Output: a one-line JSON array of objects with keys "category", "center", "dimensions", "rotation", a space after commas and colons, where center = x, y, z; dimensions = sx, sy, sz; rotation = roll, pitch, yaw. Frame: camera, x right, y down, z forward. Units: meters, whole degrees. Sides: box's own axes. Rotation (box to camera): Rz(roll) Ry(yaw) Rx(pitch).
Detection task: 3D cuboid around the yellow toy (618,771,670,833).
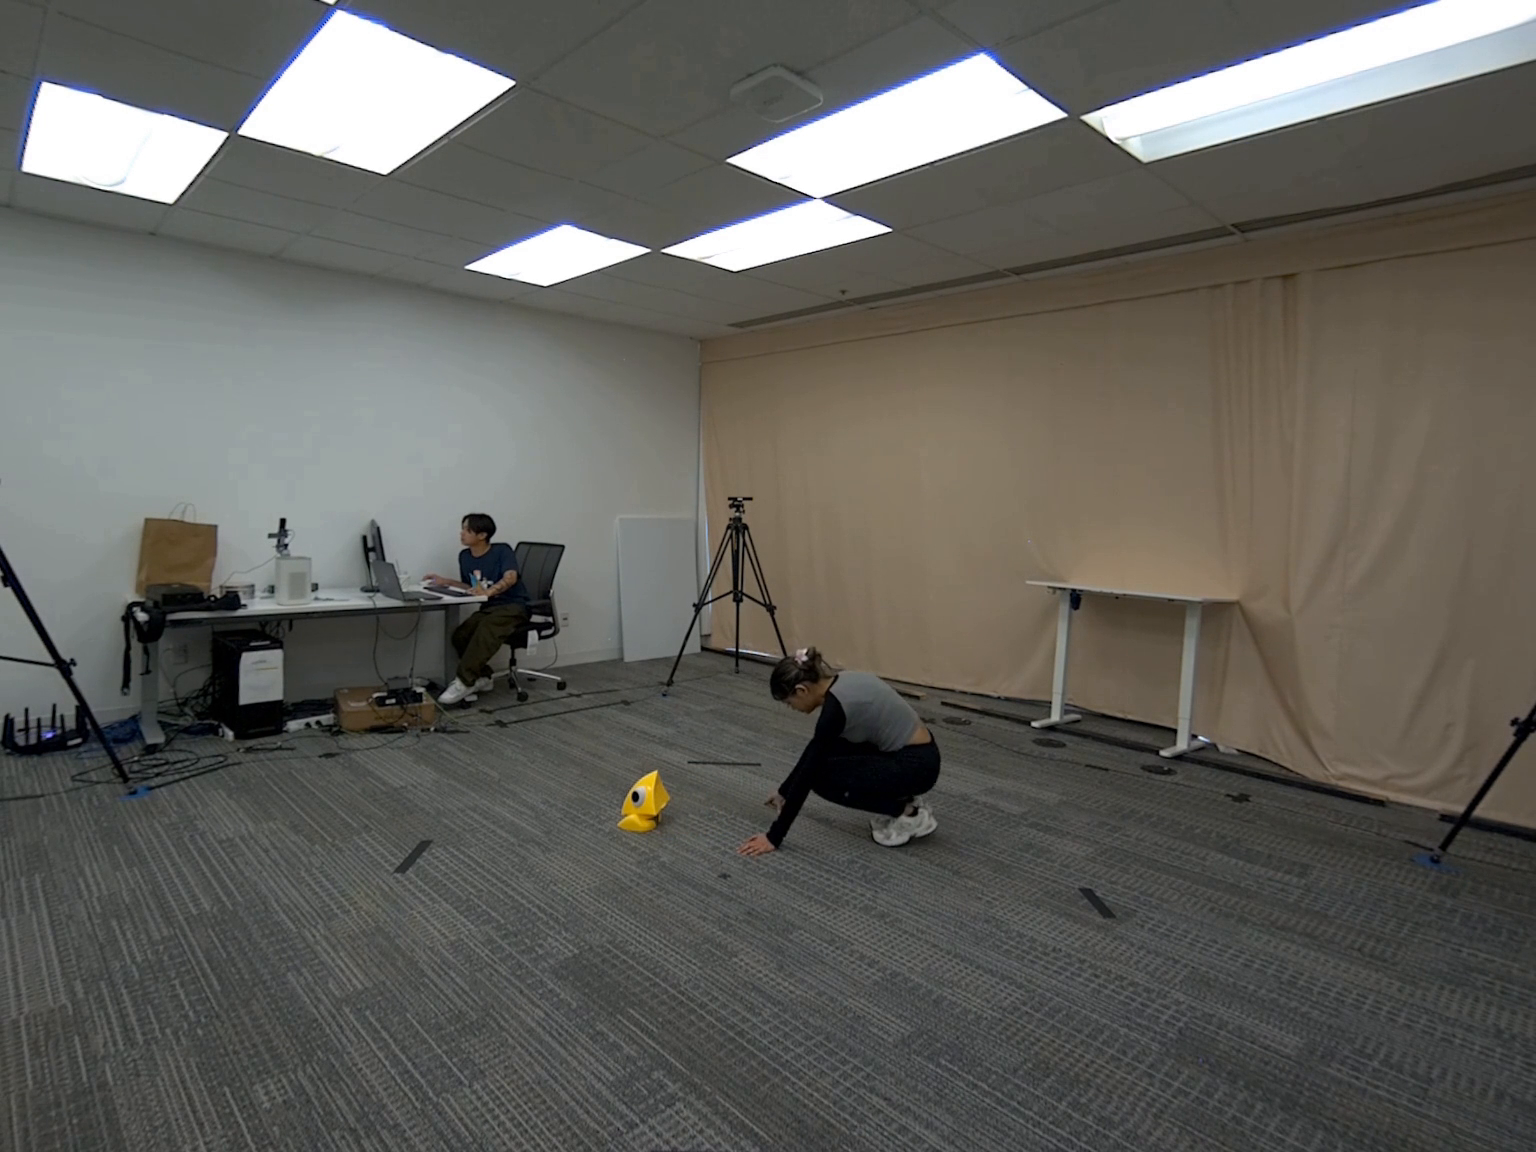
[{"category": "yellow toy", "center": [-0.539, 0.937, 3.592], "dimensions": [0.195, 0.230, 0.203], "rotation": [3, 4, 12]}]
